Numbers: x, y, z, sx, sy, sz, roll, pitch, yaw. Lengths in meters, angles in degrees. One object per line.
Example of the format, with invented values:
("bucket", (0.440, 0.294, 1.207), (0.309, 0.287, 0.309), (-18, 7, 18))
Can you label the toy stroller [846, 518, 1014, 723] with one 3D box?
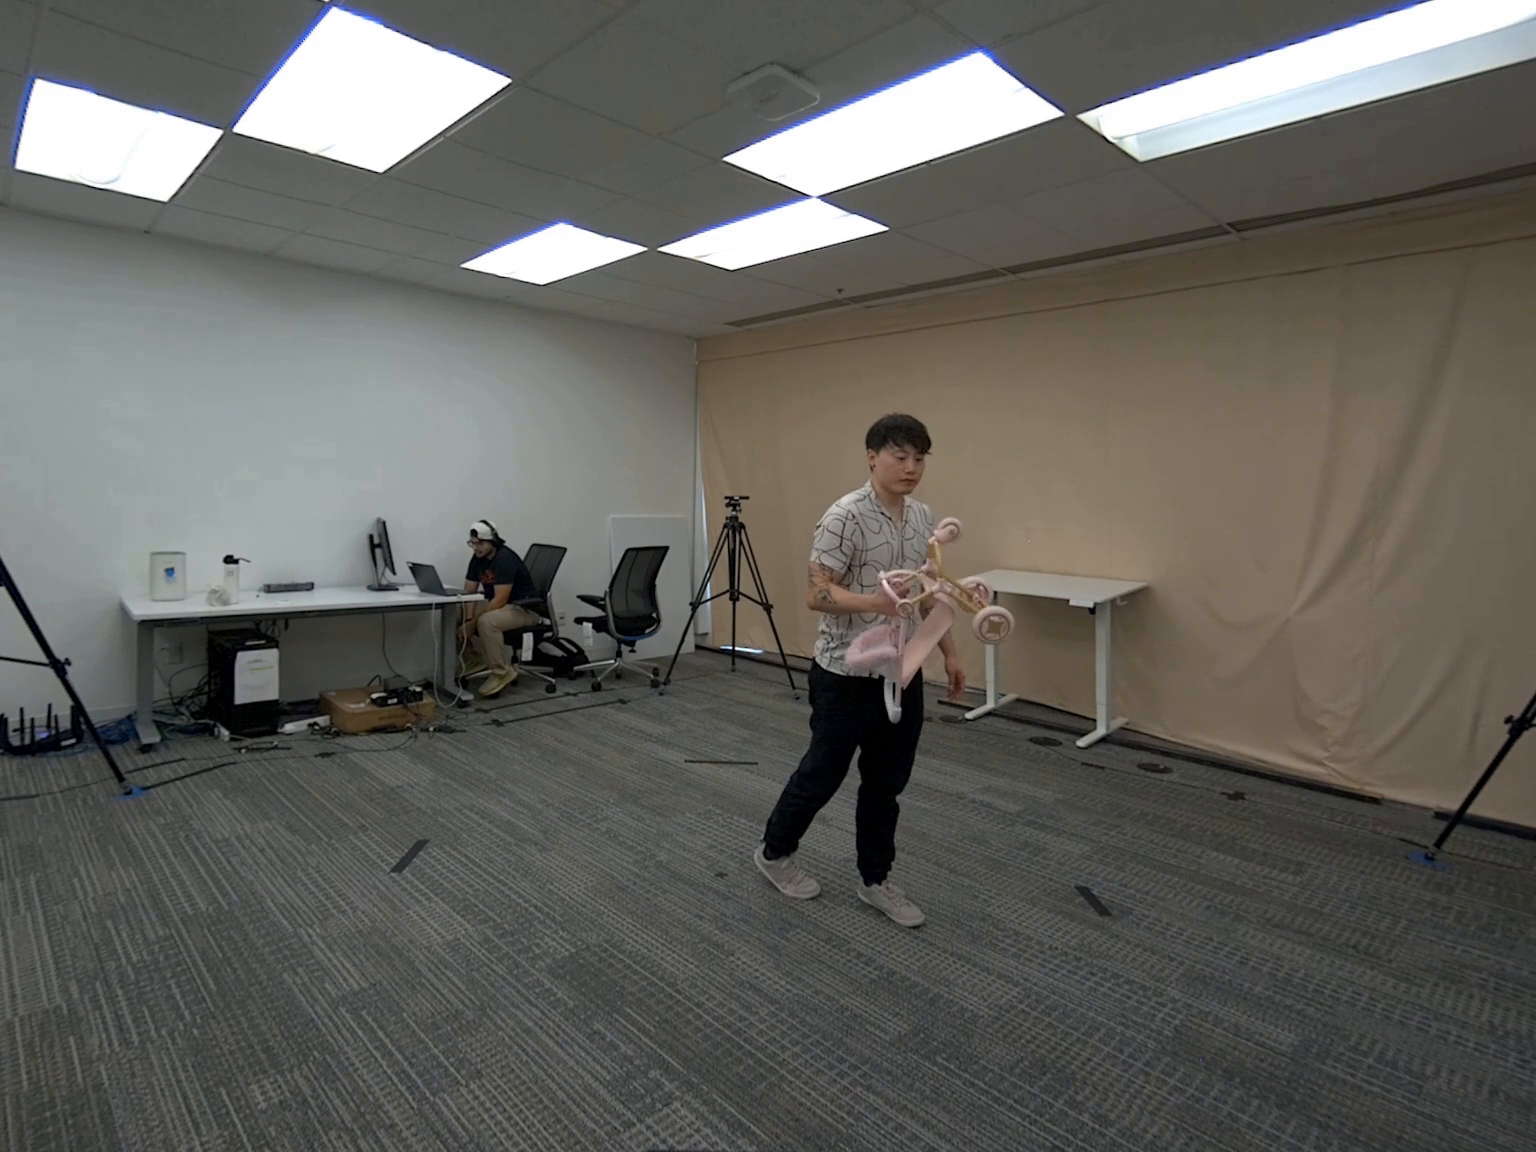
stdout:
("toy stroller", (0.407, 0.124, 2.383), (0.535, 0.337, 0.285), (-42, 13, 15))
